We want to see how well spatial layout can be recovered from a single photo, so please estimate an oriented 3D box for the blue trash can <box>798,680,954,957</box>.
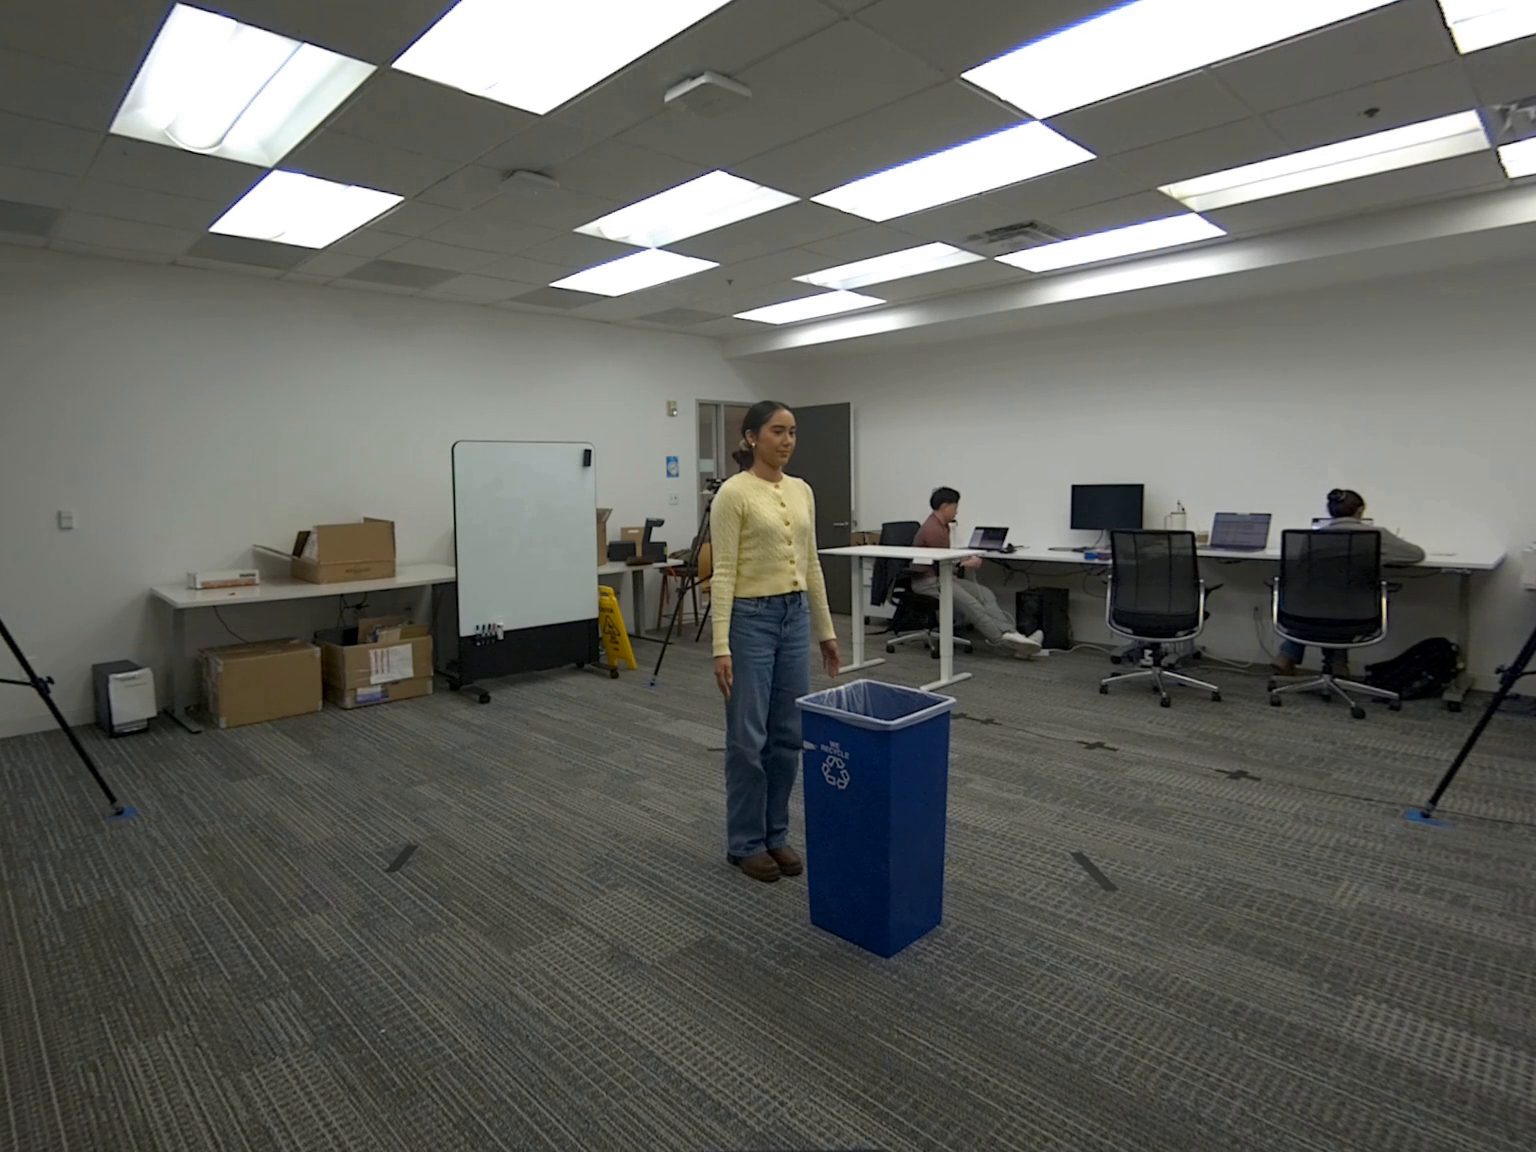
[{"bbox_3d":[0.346,0.733,2.650,0.385,0.711,0.368,3,6,44],"label":"blue trash can"}]
